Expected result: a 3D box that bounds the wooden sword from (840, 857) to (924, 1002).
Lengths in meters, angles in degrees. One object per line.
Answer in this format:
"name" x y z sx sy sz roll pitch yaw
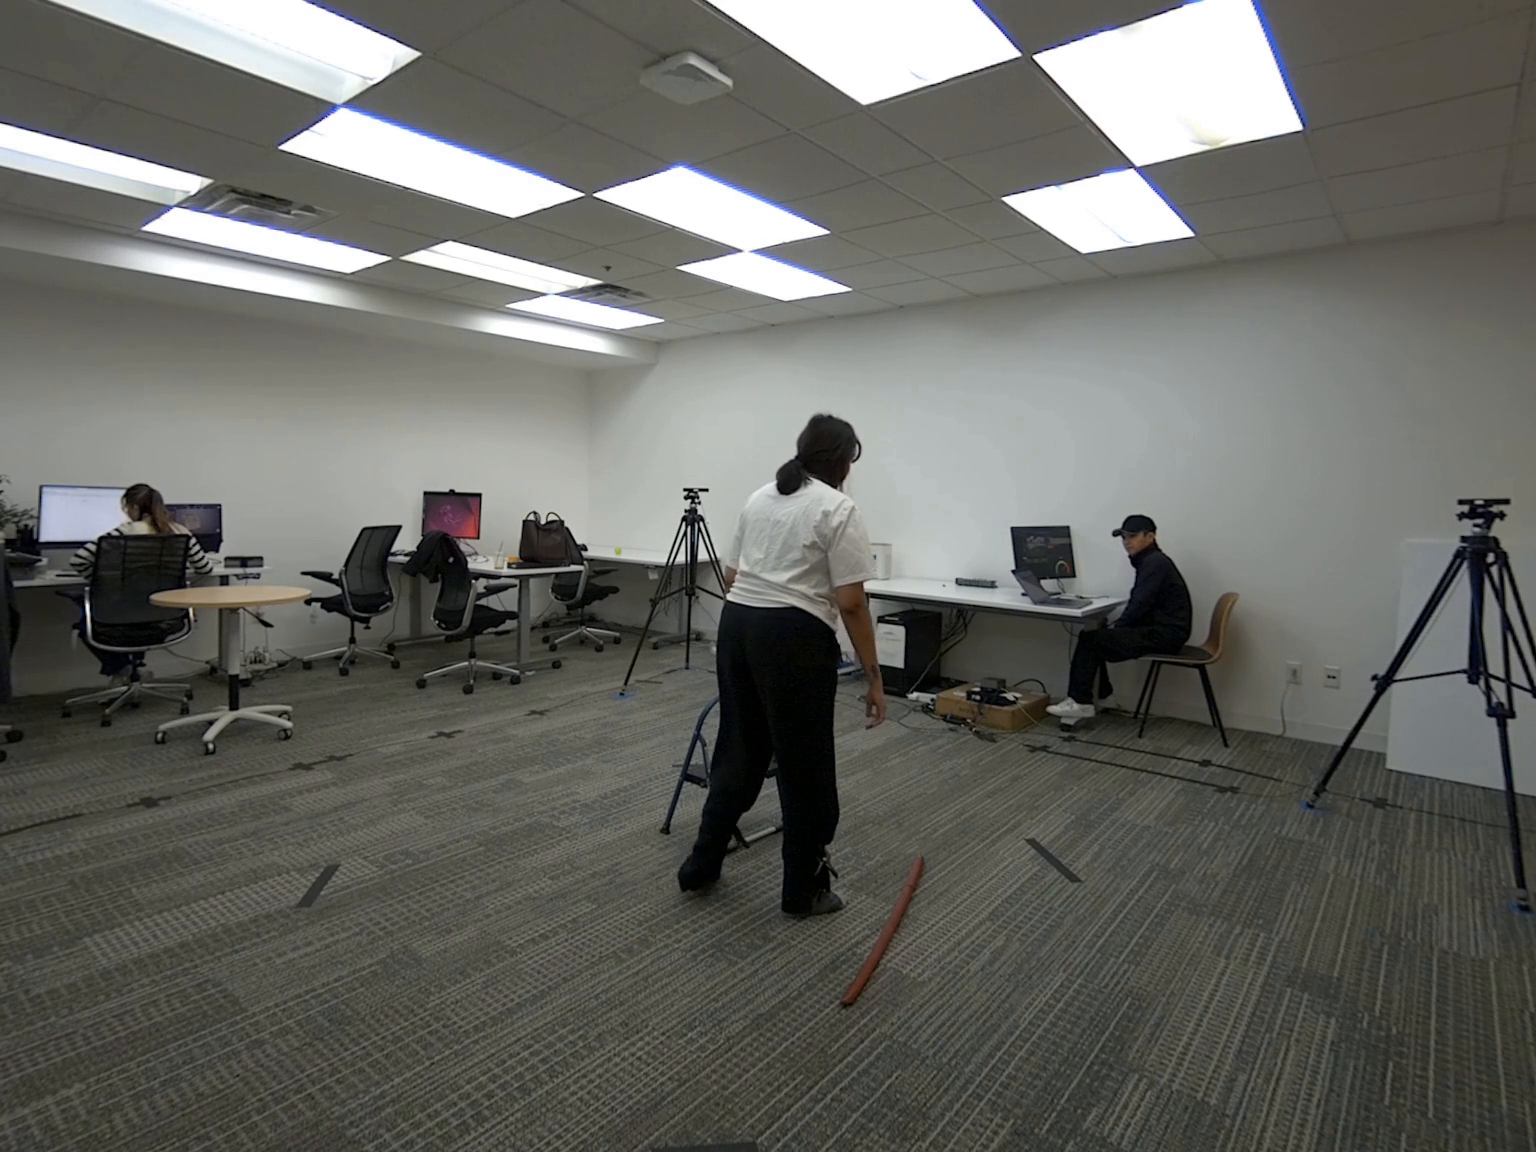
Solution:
"wooden sword" 0.380 1.089 2.759 0.052 0.024 1.002 -6 2 24
